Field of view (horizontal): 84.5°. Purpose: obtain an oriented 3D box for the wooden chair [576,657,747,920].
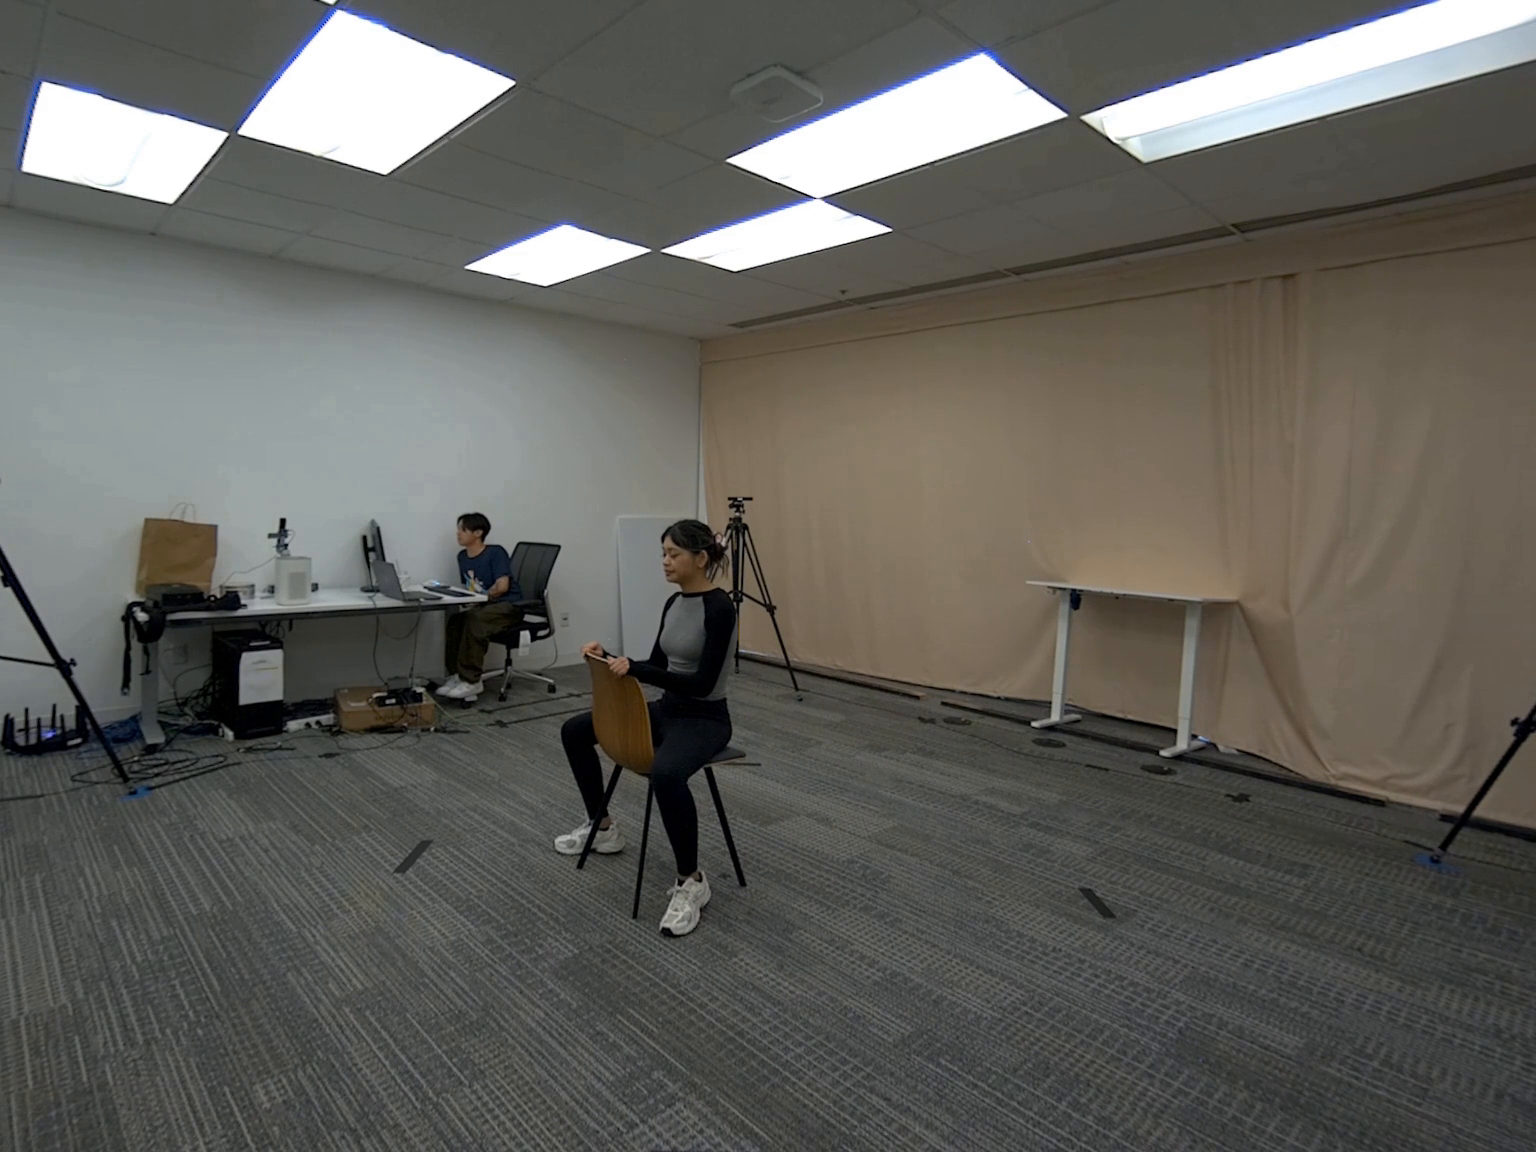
[{"bbox_3d":[-0.382,0.680,3.058,0.513,0.873,0.490,-7,8,-35],"label":"wooden chair"}]
